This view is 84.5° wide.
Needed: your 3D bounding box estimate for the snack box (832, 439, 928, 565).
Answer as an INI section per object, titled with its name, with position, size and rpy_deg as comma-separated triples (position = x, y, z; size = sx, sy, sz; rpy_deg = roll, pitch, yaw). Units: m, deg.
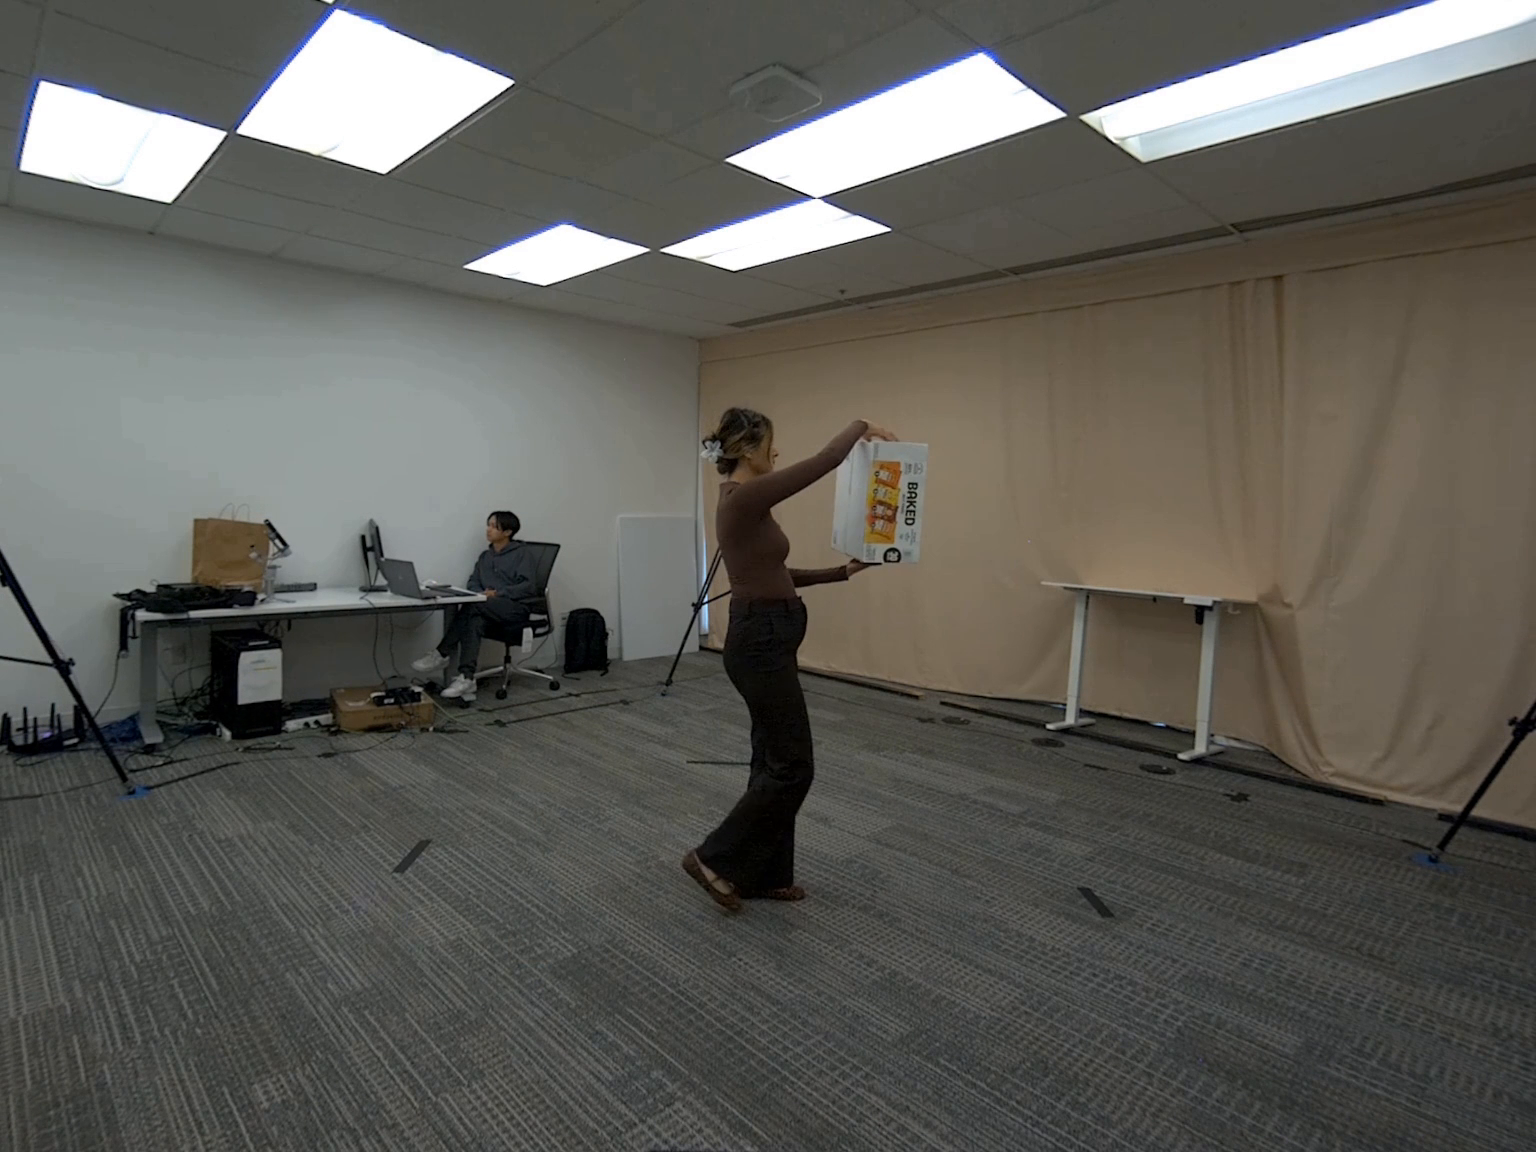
[snack box]
position = 0.375, -0.273, 2.968
size = 0.204, 0.403, 0.346
rpy_deg = 1, 9, -13
